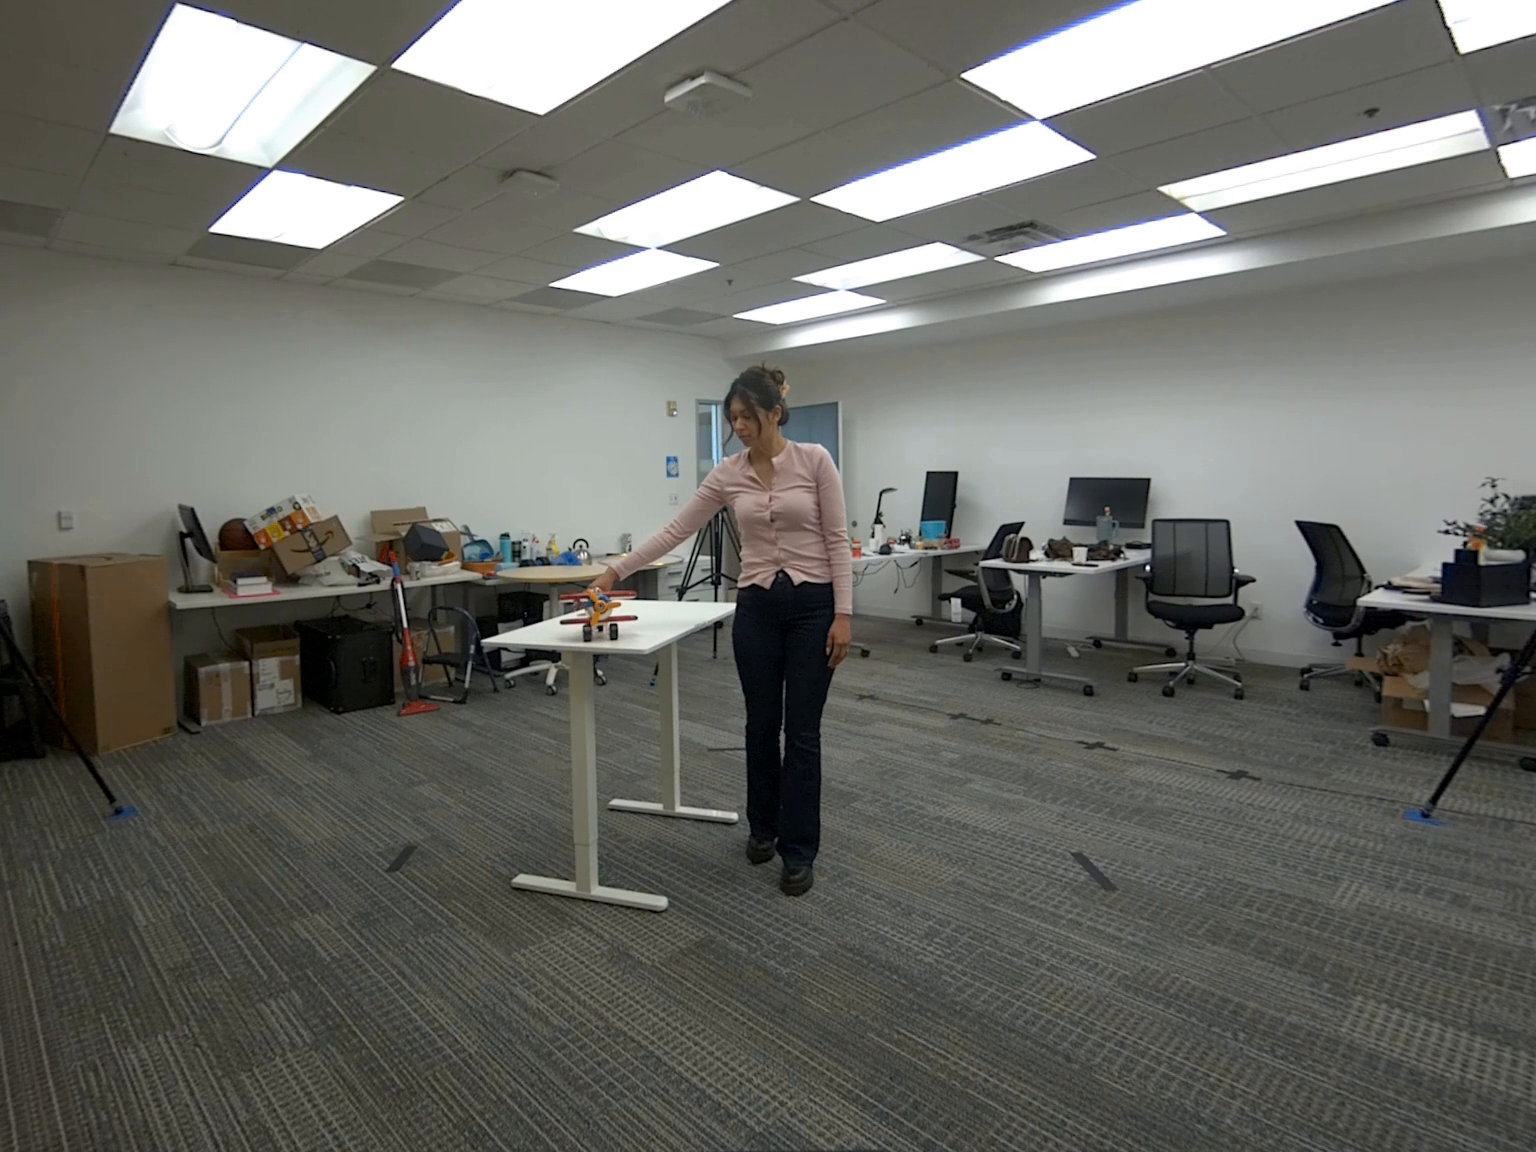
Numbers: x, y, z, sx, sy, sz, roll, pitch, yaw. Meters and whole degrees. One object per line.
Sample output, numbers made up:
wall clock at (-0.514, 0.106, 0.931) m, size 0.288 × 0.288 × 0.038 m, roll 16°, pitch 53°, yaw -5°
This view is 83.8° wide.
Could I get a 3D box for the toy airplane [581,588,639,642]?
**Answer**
toy airplane at (-0.581, 0.124, 2.843) m, size 0.244 × 0.155 × 0.267 m, roll -6°, pitch 9°, yaw -41°
